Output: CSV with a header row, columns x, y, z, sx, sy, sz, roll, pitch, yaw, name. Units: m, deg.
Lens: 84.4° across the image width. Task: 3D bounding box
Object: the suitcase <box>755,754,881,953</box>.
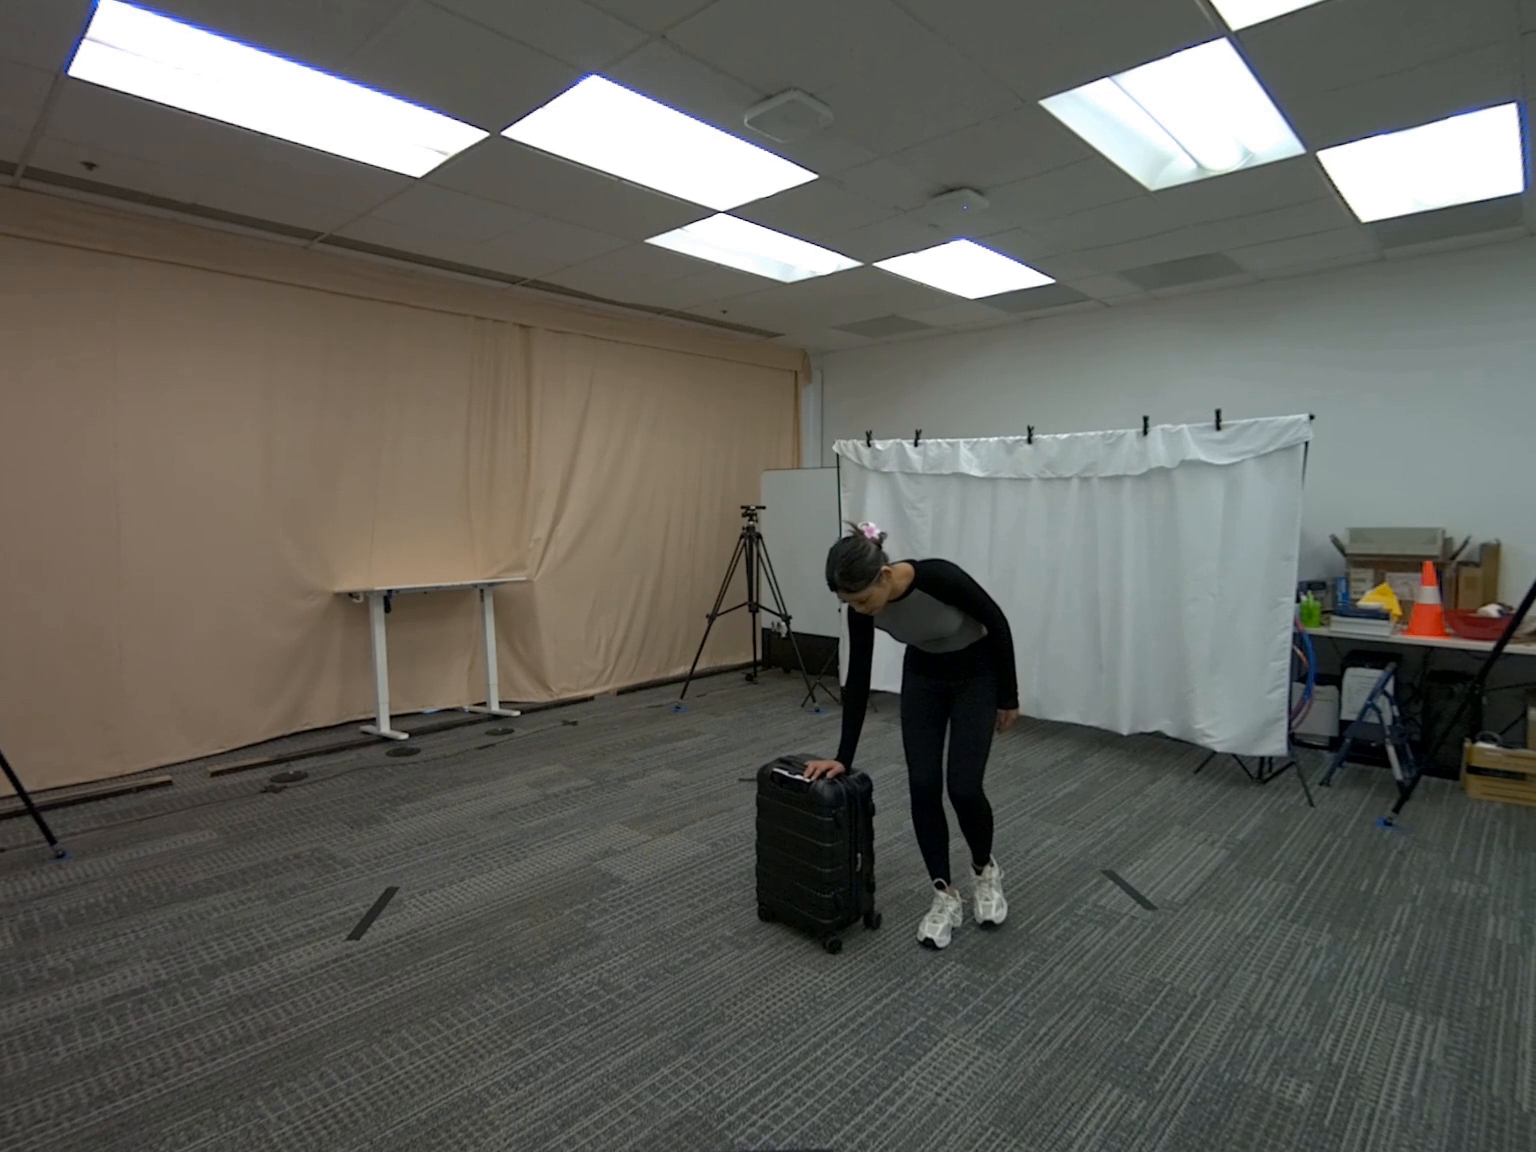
x,y,z,sx,sy,sz,roll,pitch,yaw,name
0.160,0.886,2.794,0.241,0.548,0.388,-4,6,-43,suitcase
